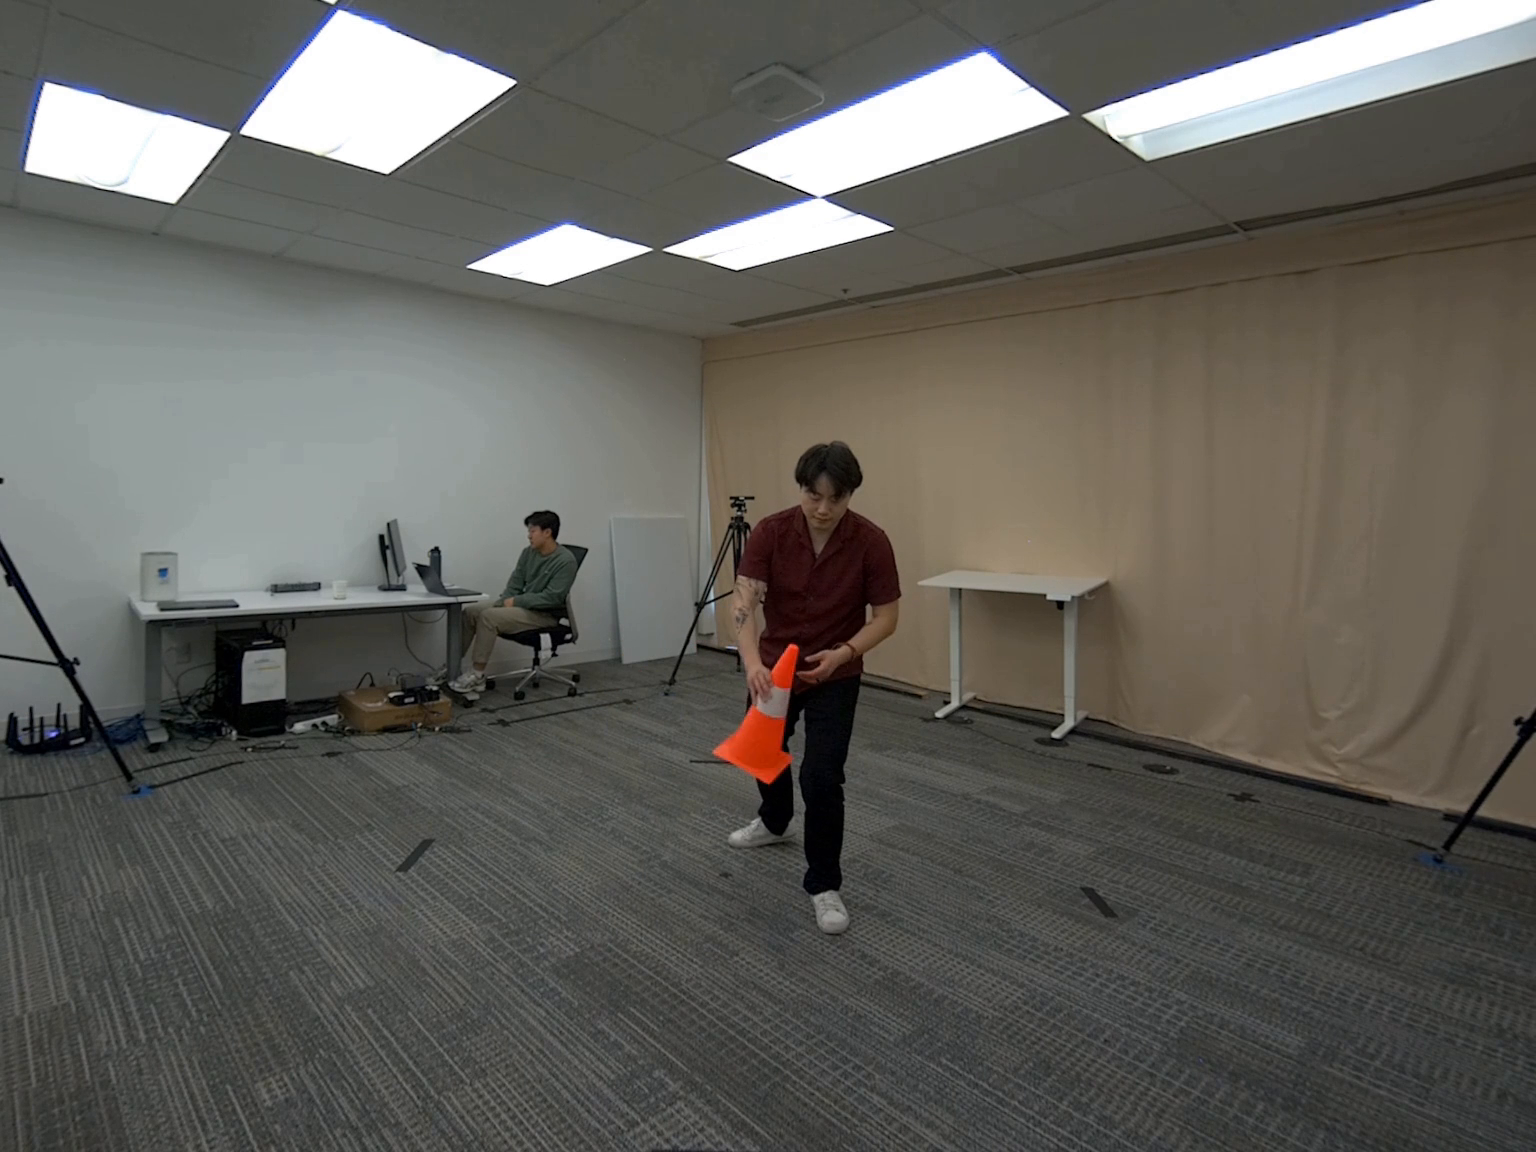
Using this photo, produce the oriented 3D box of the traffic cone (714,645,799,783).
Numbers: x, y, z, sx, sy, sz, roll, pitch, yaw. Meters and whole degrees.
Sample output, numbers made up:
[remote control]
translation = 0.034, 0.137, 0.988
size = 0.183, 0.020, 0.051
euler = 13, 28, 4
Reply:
[traffic cone]
translation = -0.005, 0.370, 2.507
size = 0.207, 0.381, 0.203
euler = 21, 16, 16
